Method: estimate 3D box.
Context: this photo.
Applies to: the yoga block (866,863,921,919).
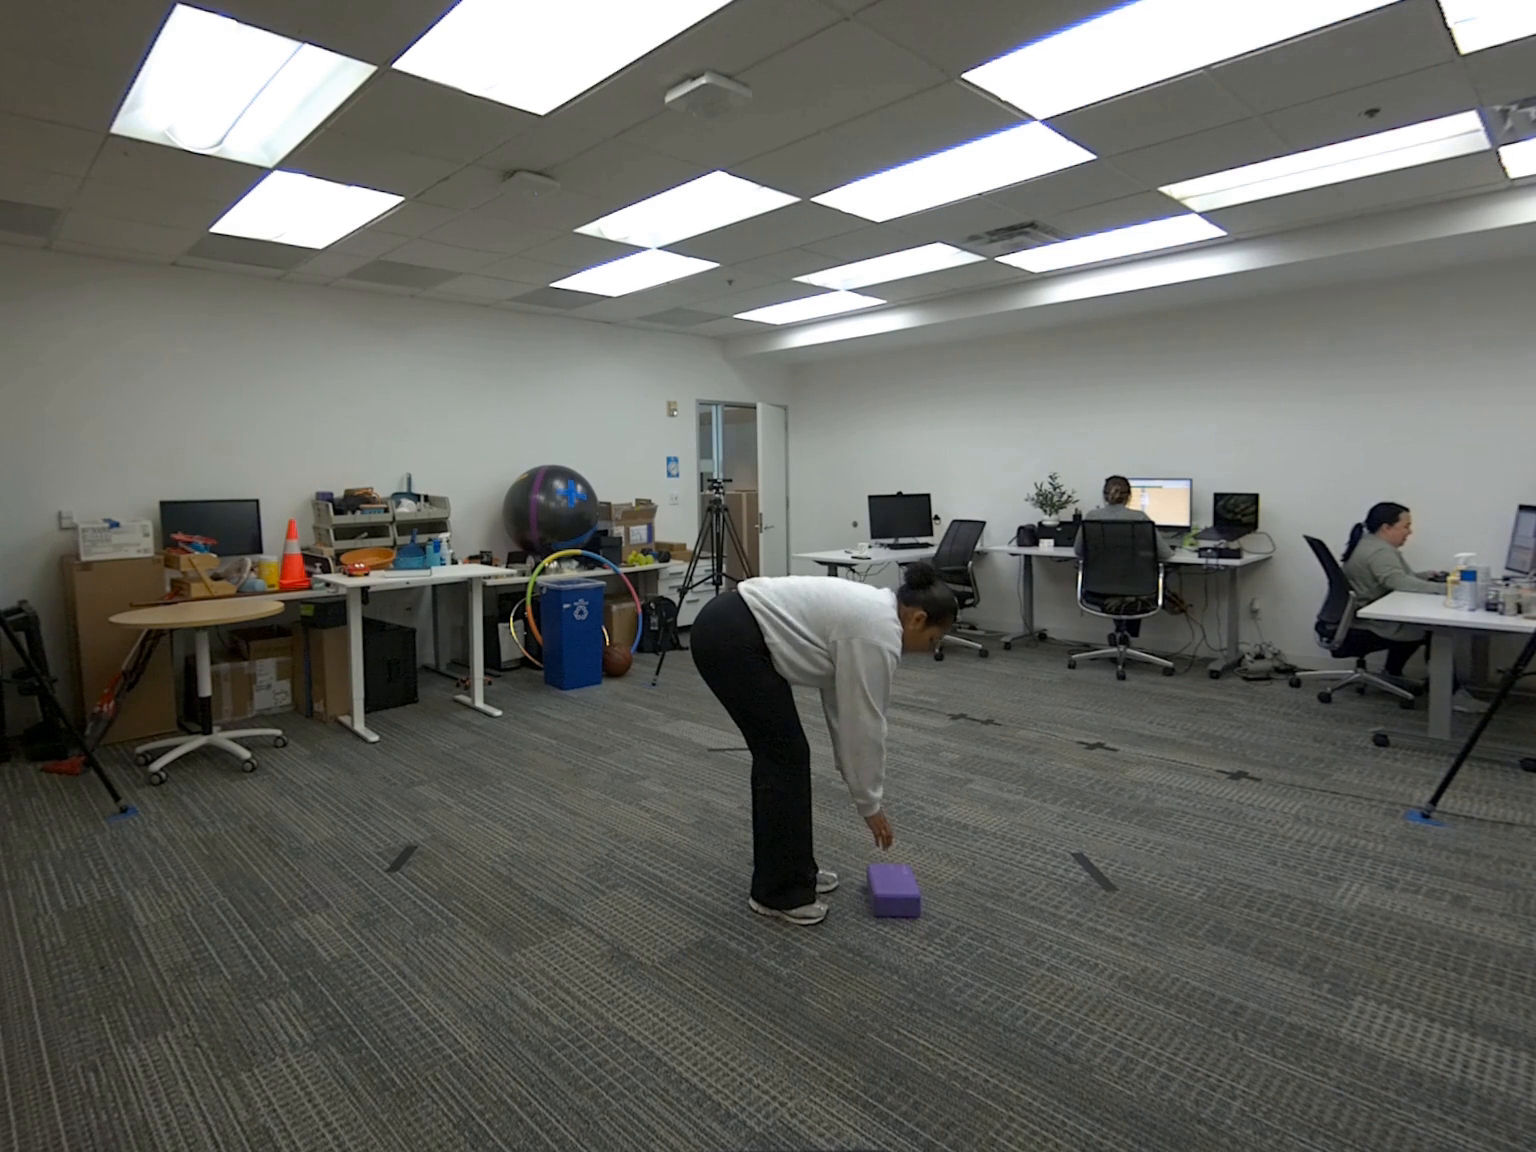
[{"bbox_3d":[0.407,1.025,2.808,0.149,0.076,0.230,0,6,2],"label":"yoga block"}]
